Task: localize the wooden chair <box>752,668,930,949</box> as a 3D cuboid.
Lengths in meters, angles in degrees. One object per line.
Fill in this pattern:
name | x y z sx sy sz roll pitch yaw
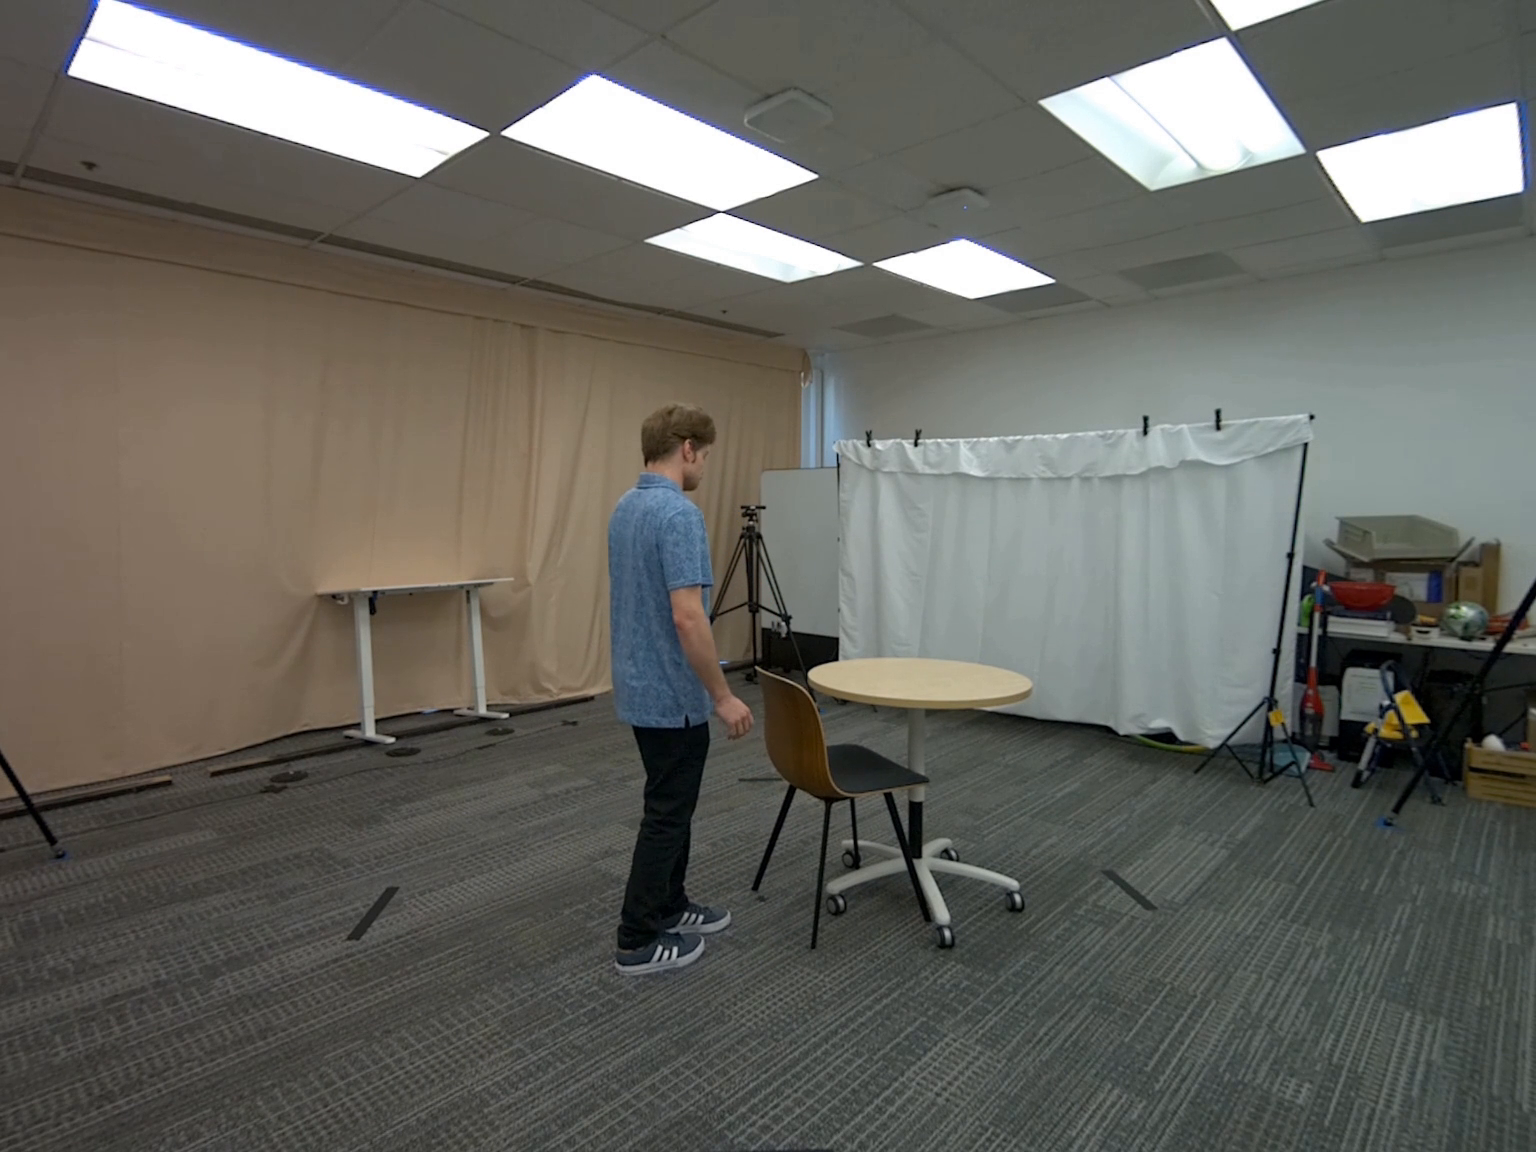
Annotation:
wooden chair | 0.250 0.721 2.902 0.512 0.874 0.490 -6 5 -25
